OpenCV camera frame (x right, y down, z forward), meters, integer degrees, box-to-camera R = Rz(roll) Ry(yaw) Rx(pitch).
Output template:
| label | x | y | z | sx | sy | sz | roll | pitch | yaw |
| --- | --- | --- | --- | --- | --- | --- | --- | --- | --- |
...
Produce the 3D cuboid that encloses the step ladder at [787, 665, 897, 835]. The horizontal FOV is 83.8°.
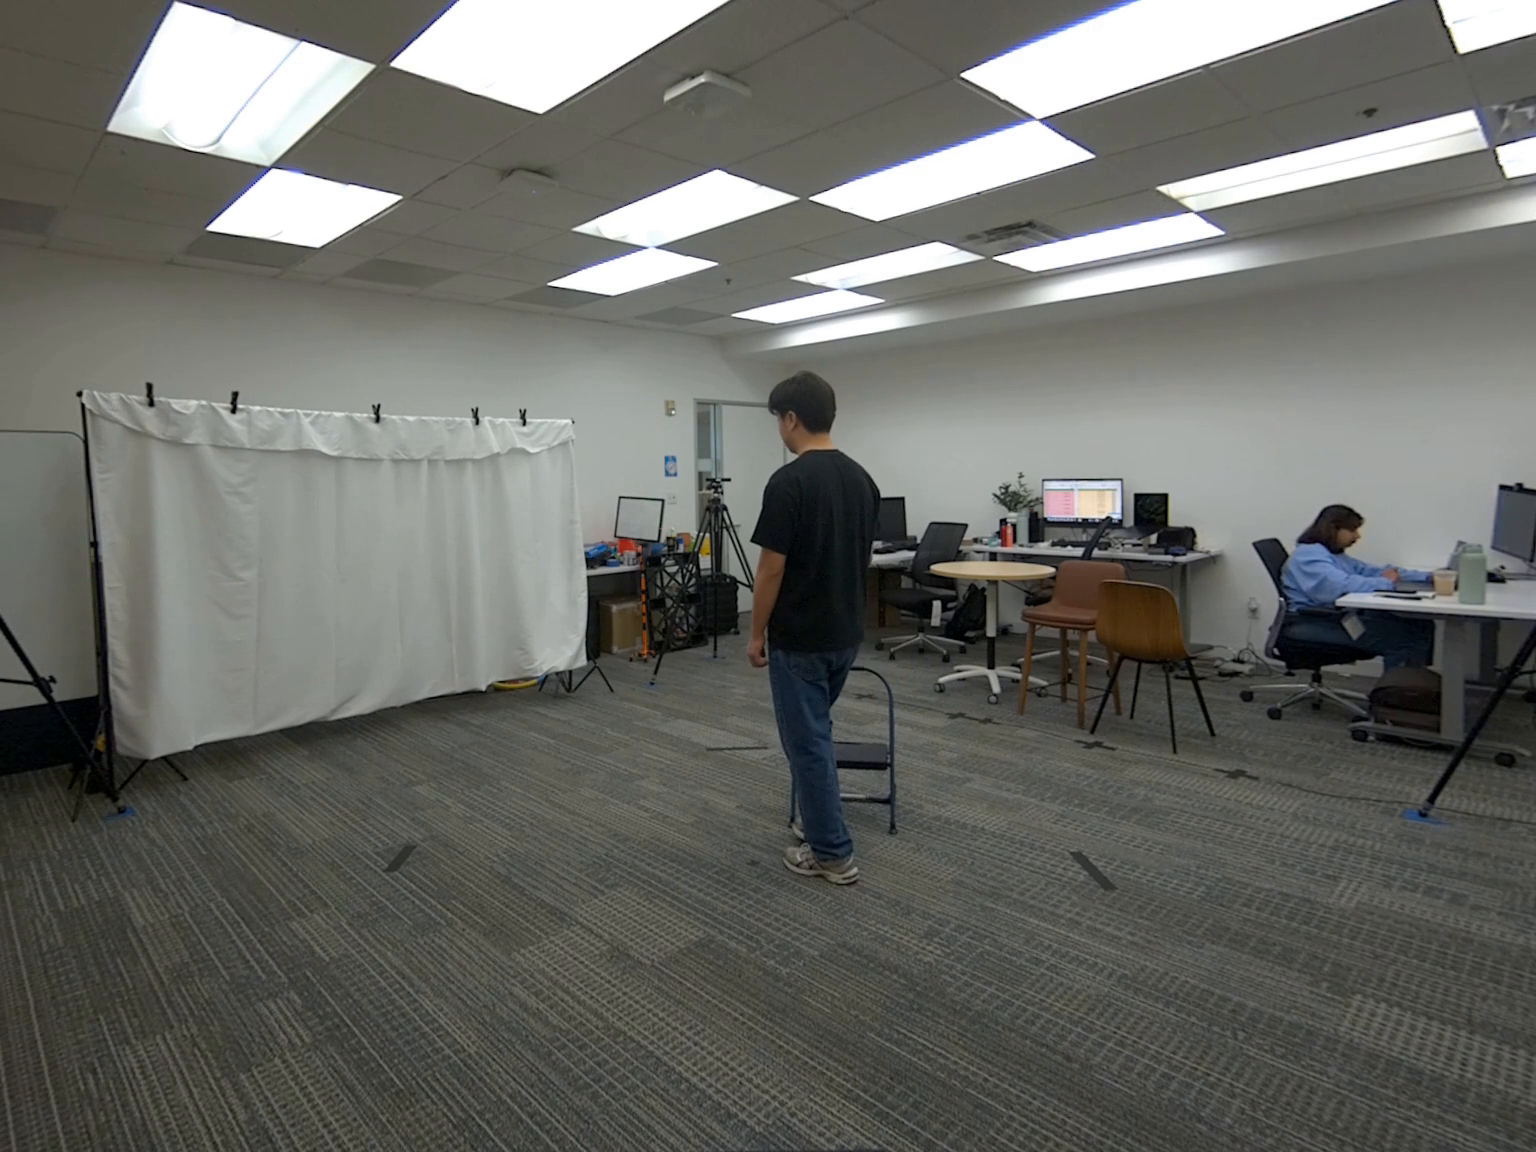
| label | x | y | z | sx | sy | sz | roll | pitch | yaw |
| --- | --- | --- | --- | --- | --- | --- | --- | --- | --- |
| step ladder | 0.318 | 0.688 | 3.529 | 0.435 | 0.604 | 0.347 | 0 | 4 | 9 |
